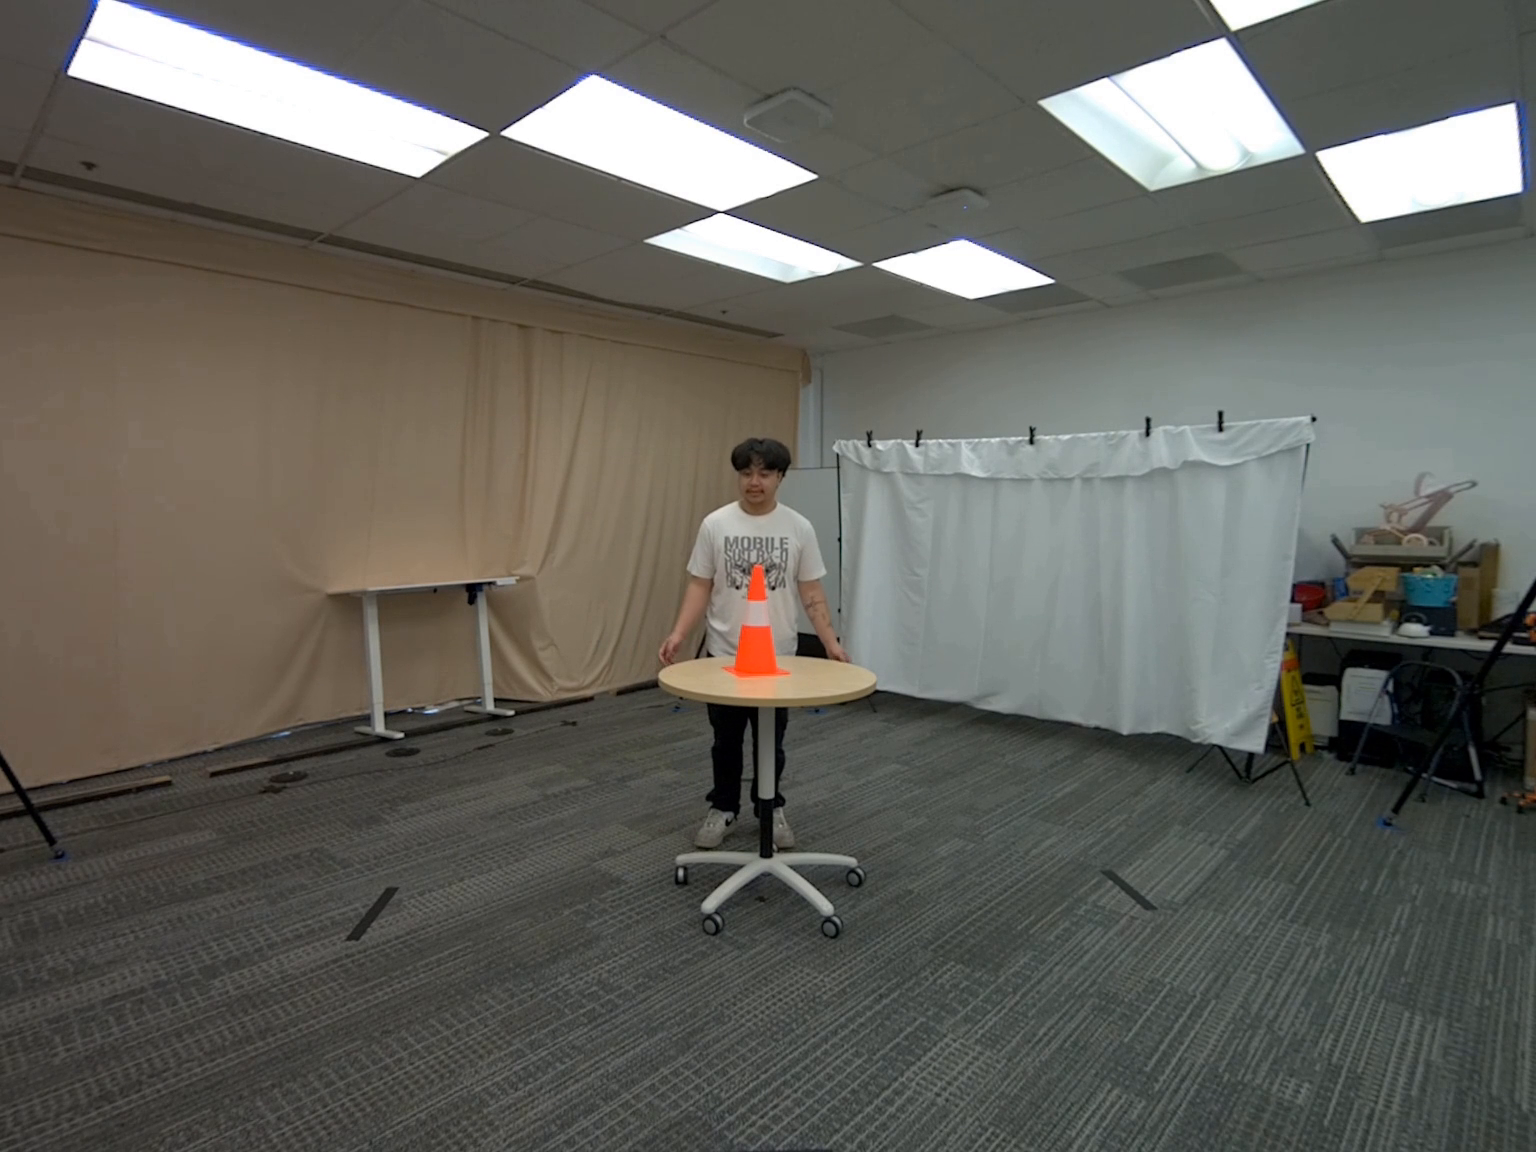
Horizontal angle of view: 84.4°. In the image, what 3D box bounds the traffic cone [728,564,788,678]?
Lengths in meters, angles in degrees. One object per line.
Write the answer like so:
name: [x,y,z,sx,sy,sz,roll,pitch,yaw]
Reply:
traffic cone: [-0.038,0.156,3.039,0.200,0.383,0.208,0,4,-23]
